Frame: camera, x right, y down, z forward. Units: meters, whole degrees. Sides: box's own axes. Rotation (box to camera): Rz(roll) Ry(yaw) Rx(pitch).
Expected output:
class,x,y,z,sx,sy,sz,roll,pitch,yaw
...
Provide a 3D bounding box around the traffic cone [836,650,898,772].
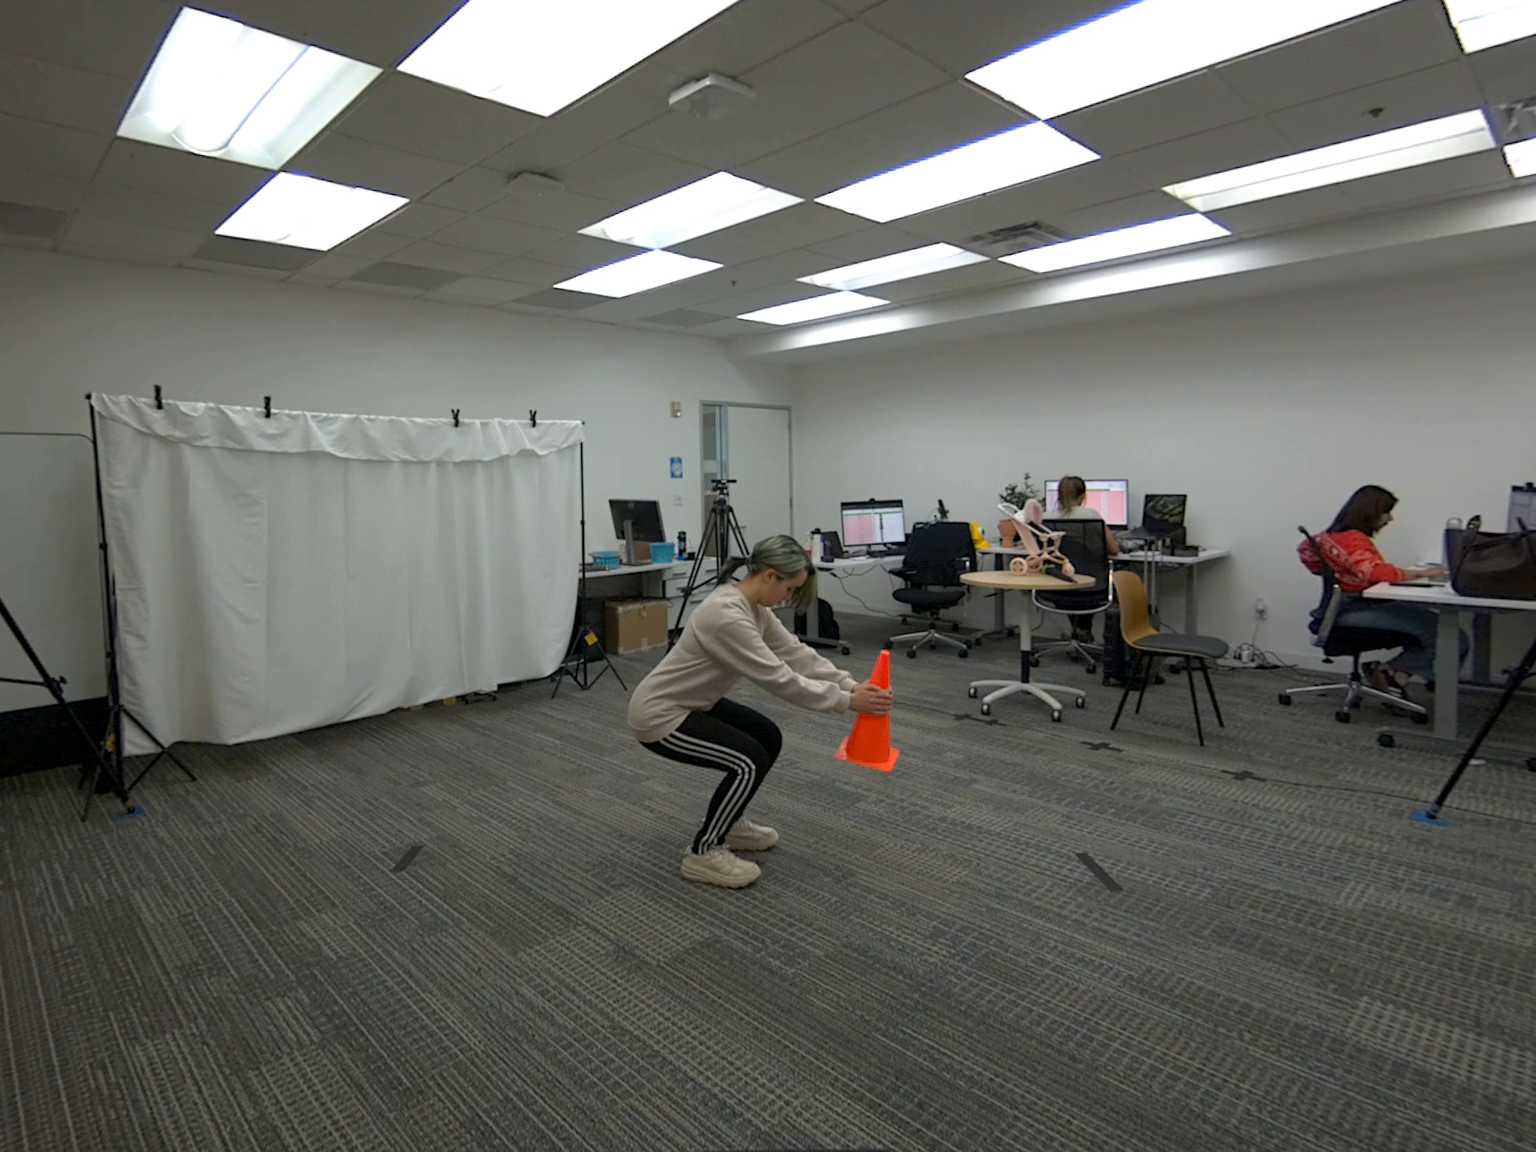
class,x,y,z,sx,sy,sz,roll,pitch,yaw
traffic cone,0.369,0.433,2.952,0.207,0.380,0.203,10,13,18
